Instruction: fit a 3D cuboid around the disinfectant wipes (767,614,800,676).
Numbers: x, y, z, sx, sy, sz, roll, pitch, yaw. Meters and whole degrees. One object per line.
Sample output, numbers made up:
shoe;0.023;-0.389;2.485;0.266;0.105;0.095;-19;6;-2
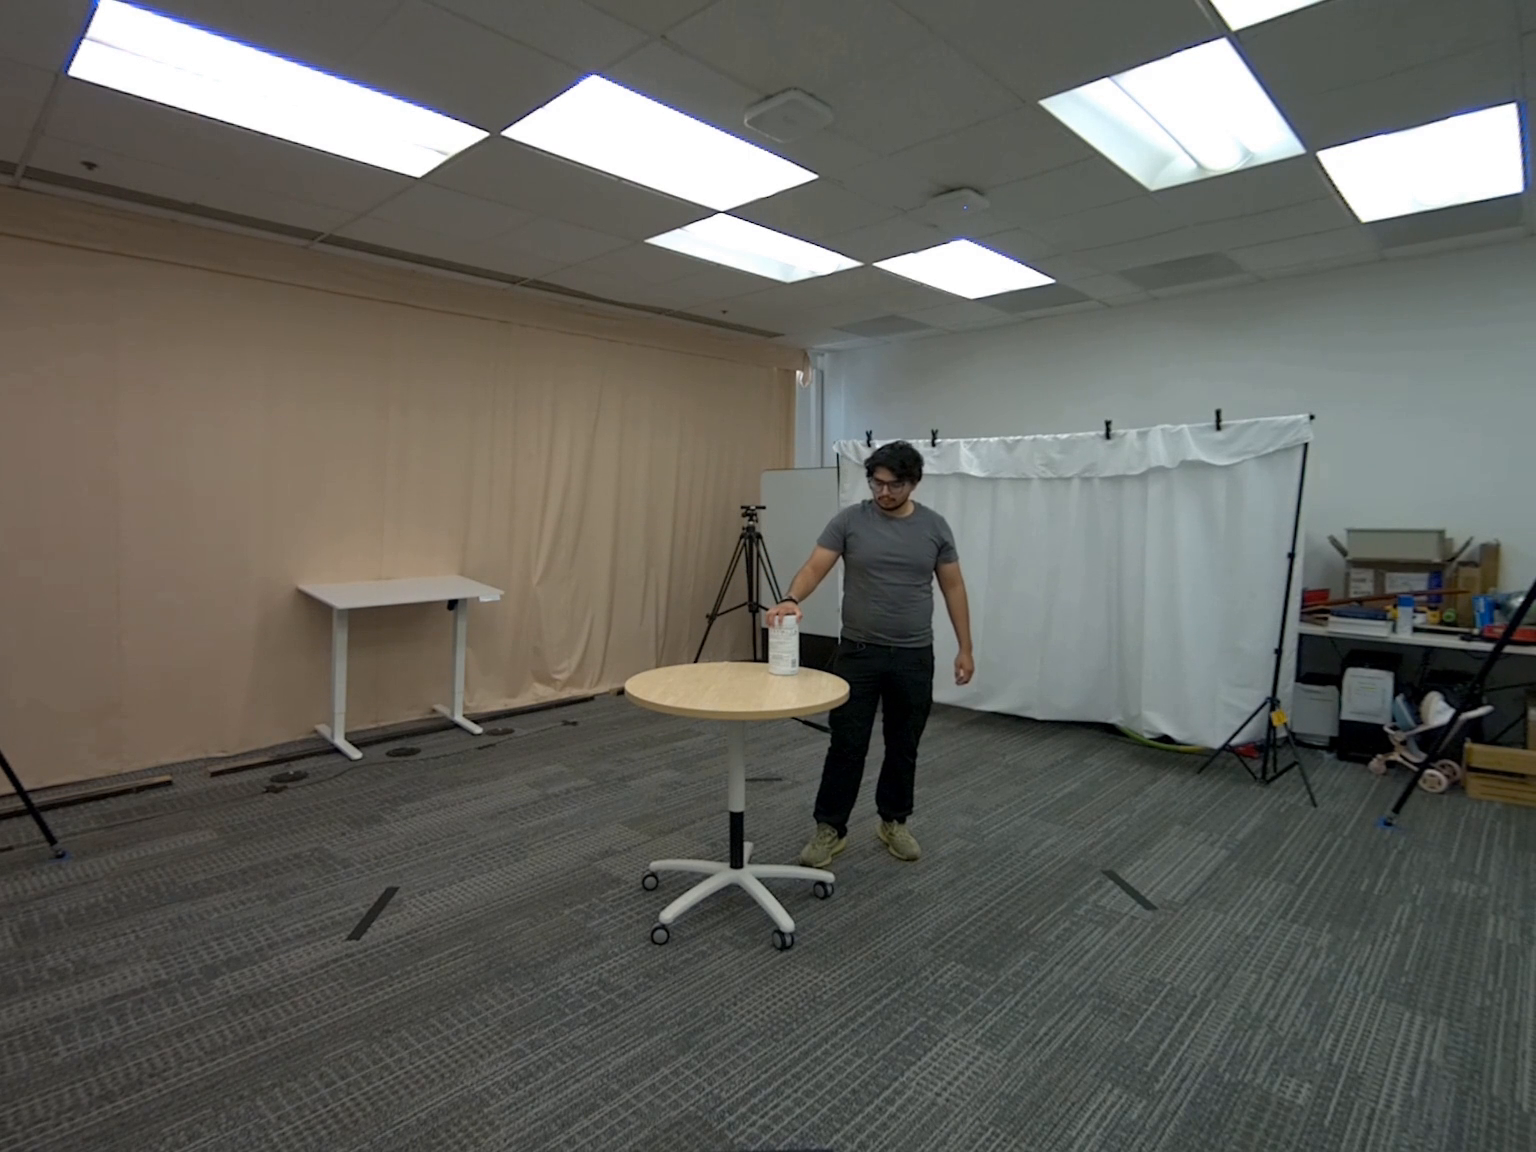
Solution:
disinfectant wipes;0.062;0.250;3.062;0.118;0.217;0.118;1;0;-2
